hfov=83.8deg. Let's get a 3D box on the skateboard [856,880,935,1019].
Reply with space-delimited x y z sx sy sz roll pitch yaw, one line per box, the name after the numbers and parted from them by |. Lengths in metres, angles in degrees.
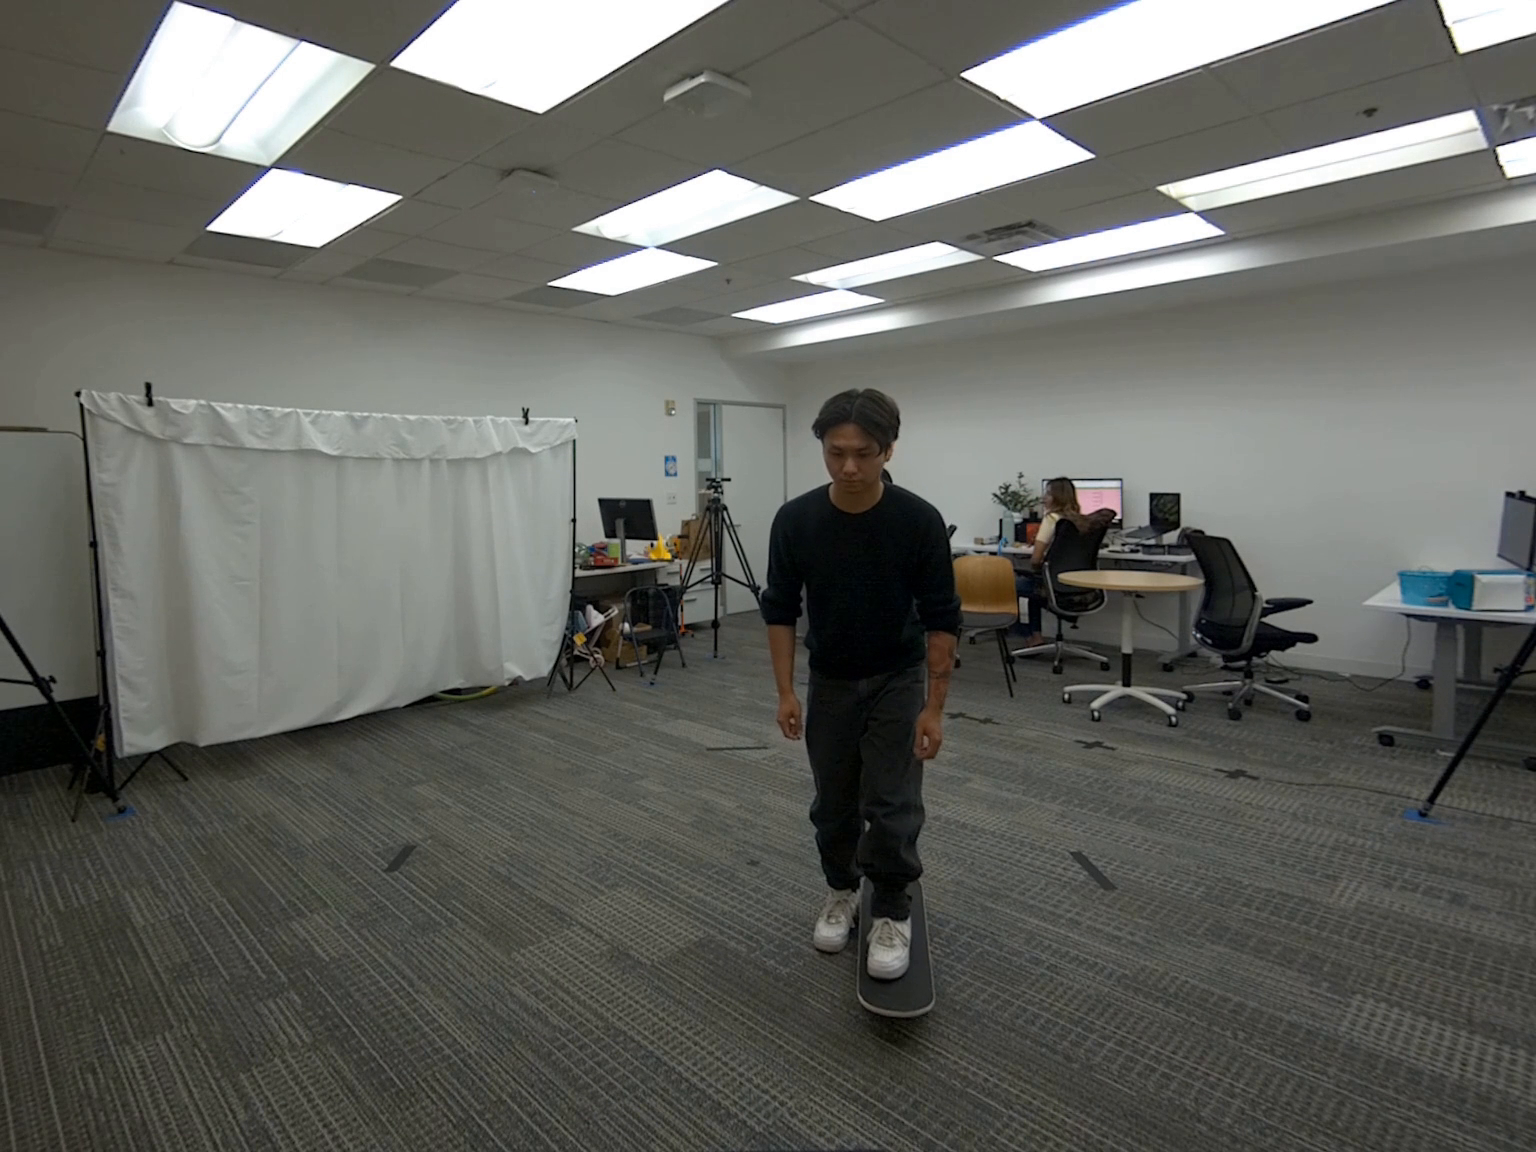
0.368 1.050 2.458 0.195 0.109 0.784 -1 8 7 | skateboard
